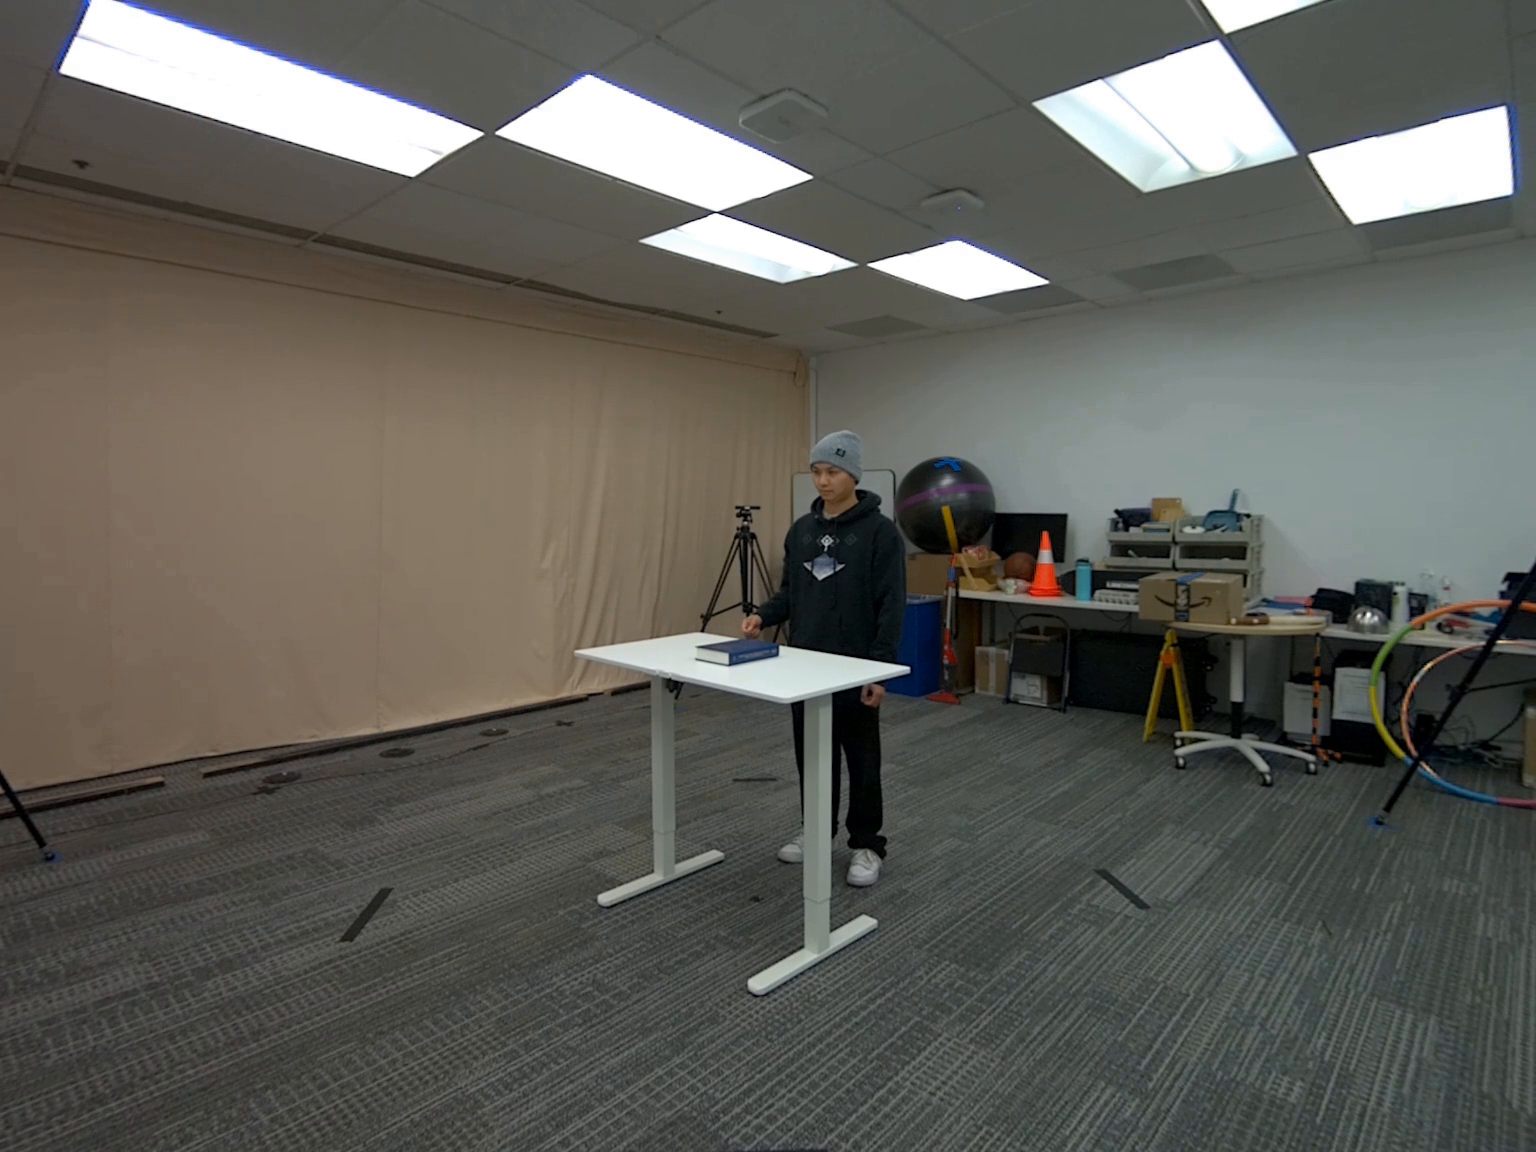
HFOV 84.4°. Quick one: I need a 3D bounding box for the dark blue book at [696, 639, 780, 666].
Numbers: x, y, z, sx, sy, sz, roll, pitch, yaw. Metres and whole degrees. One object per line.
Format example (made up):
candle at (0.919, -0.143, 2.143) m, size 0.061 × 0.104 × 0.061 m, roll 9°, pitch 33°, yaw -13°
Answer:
dark blue book at (-0.101, 0.257, 2.818) m, size 0.169 × 0.045 × 0.237 m, roll 5°, pitch 7°, yaw 44°
